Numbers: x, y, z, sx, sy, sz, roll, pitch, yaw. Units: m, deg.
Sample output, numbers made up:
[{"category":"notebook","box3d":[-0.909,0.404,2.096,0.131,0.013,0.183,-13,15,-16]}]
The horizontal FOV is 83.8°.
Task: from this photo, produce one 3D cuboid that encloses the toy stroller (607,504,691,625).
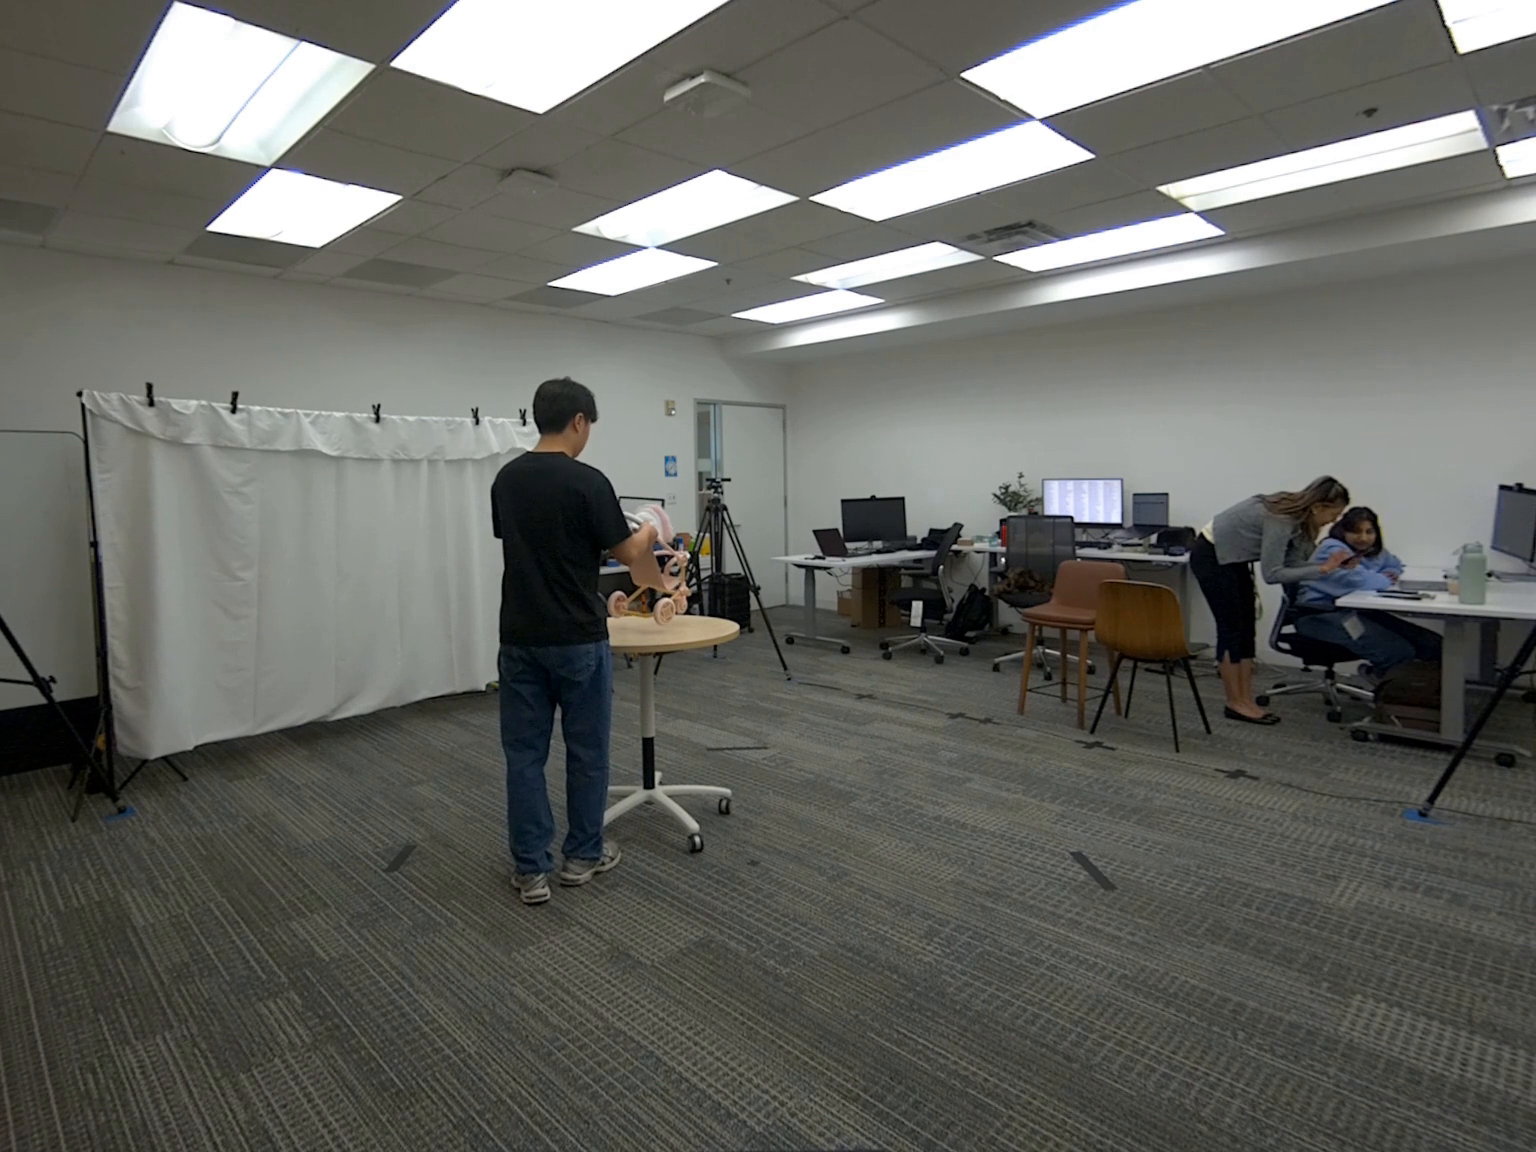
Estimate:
[{"category":"toy stroller","box3d":[-0.462,-0.049,3.449,0.290,0.526,0.336,6,21,39]}]
